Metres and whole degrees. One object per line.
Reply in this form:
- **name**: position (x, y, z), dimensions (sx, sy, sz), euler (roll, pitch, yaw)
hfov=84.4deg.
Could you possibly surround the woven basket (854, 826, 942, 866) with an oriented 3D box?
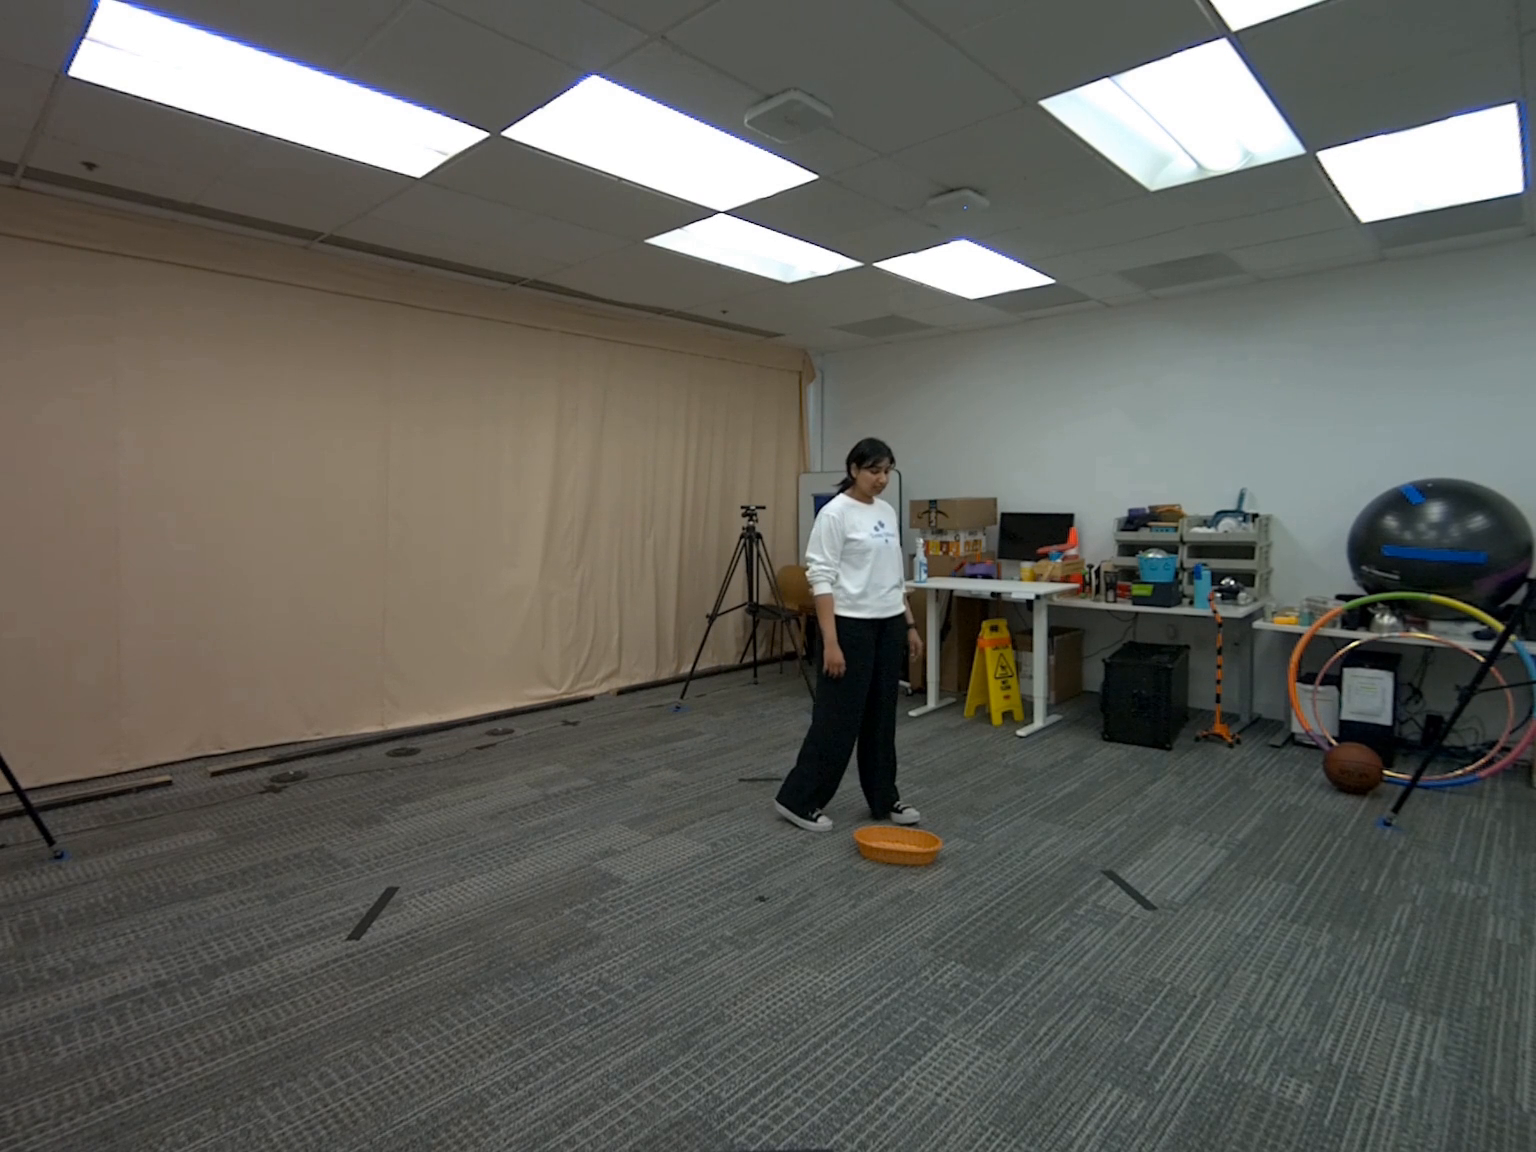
- **woven basket**: position (0.517, 1.072, 3.355), dimensions (0.358, 0.073, 0.247), euler (1, 3, 19)
